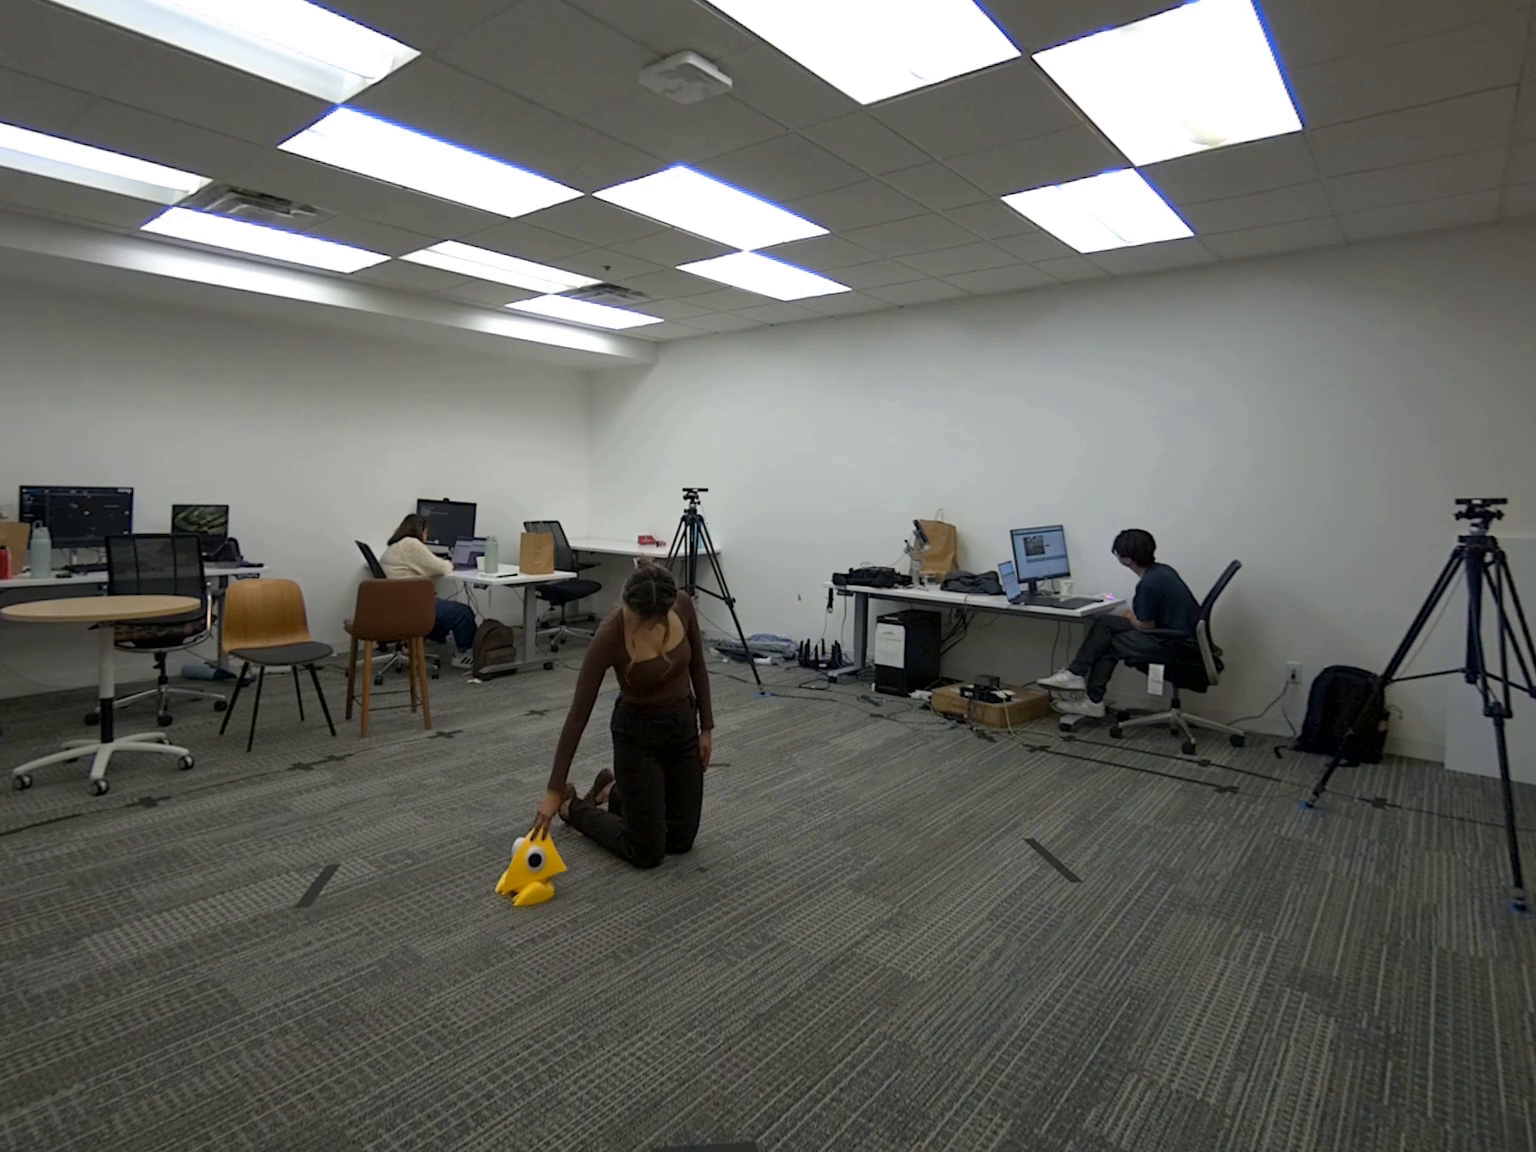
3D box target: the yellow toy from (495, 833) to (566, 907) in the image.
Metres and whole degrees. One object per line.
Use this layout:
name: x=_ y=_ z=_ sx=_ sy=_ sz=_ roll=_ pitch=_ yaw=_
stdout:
yellow toy: x=-0.831 y=0.966 z=2.916 sx=0.212 sy=0.230 sz=0.187 roll=5 pitch=6 yaw=44
